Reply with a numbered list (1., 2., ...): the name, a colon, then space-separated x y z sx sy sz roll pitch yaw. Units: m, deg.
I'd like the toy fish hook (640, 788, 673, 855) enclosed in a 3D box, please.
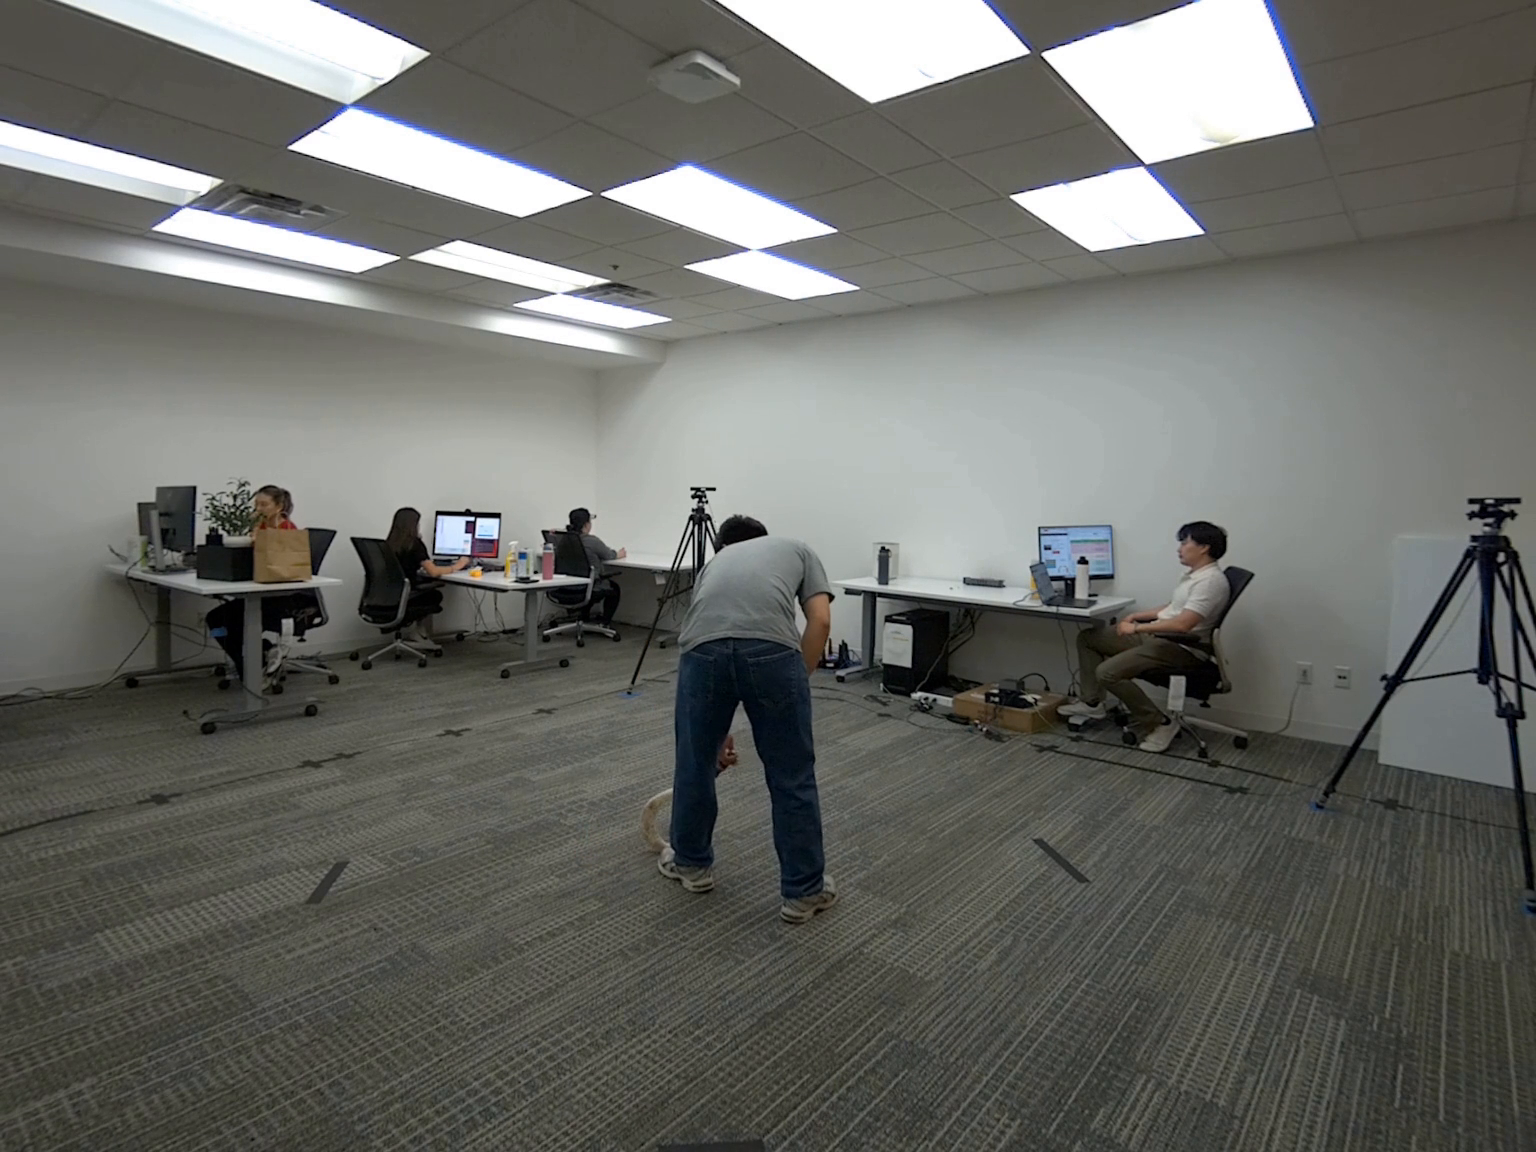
1. toy fish hook: -0.284 0.854 3.201 0.508 0.230 0.047 -39 -17 15
